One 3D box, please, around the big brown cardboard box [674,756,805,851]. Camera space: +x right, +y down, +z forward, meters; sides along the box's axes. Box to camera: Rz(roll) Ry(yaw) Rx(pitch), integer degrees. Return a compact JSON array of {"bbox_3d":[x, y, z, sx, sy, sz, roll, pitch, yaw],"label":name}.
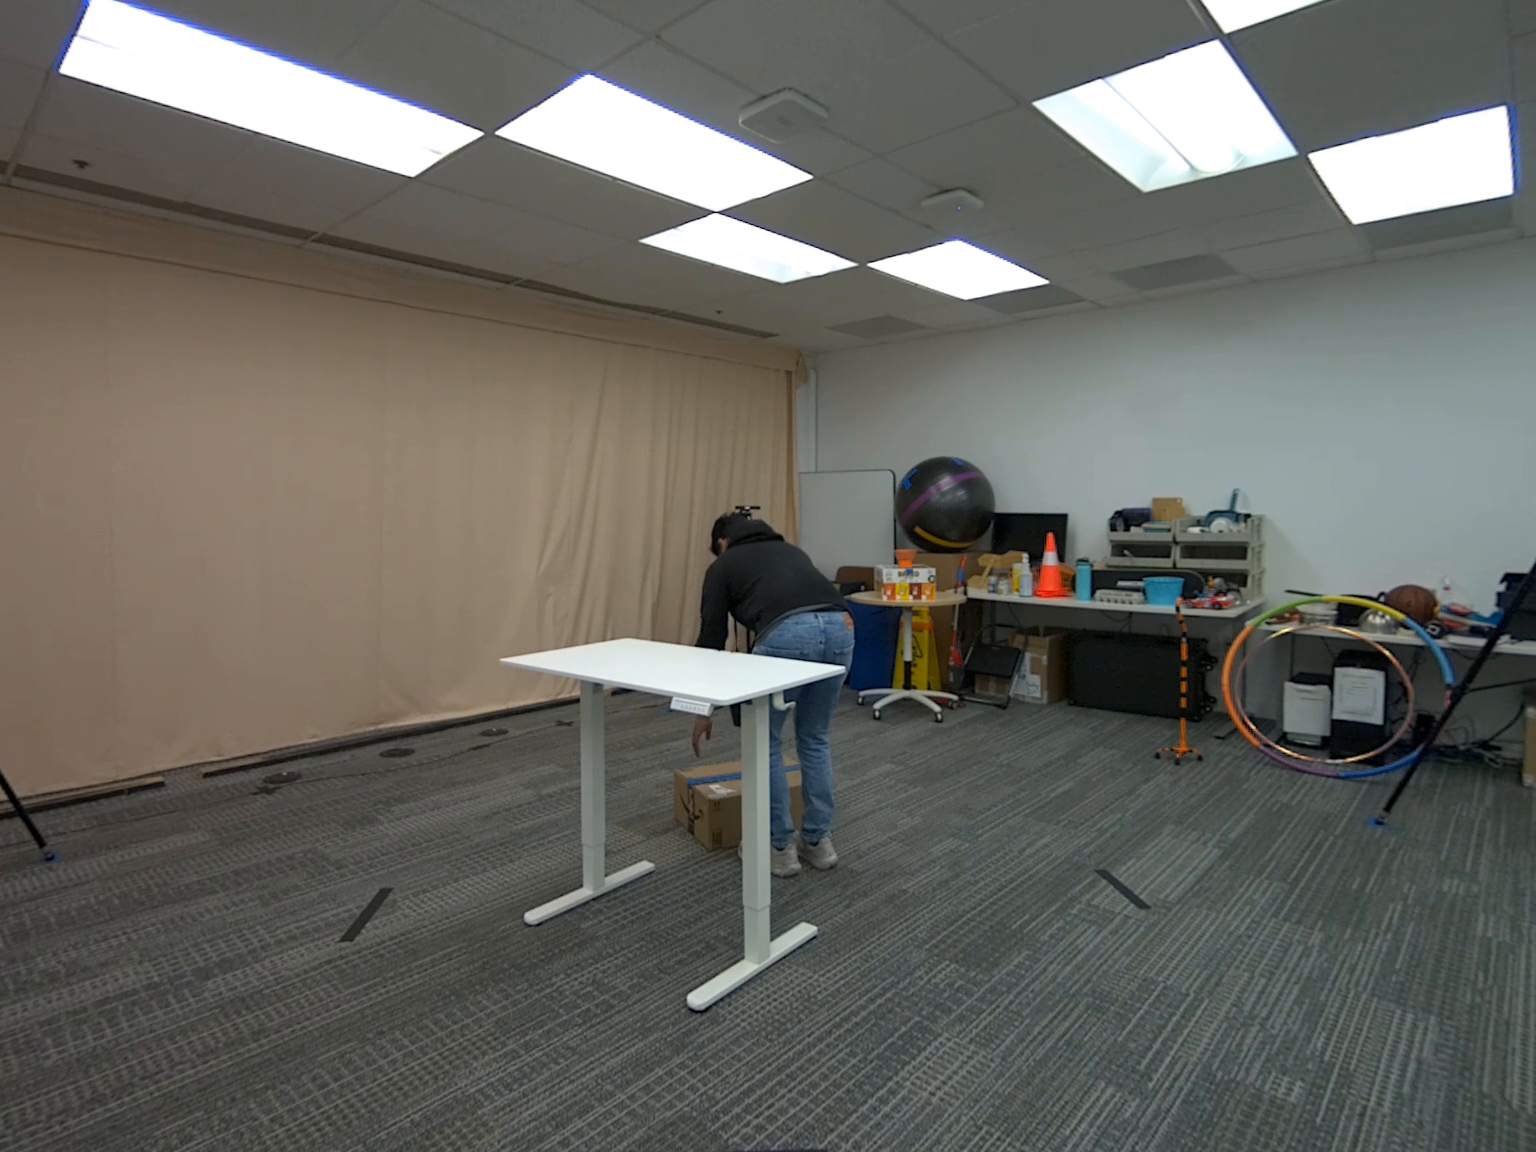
[{"bbox_3d":[-0.082,0.976,3.680,0.575,0.233,0.428,-1,4,-25],"label":"big brown cardboard box"}]
